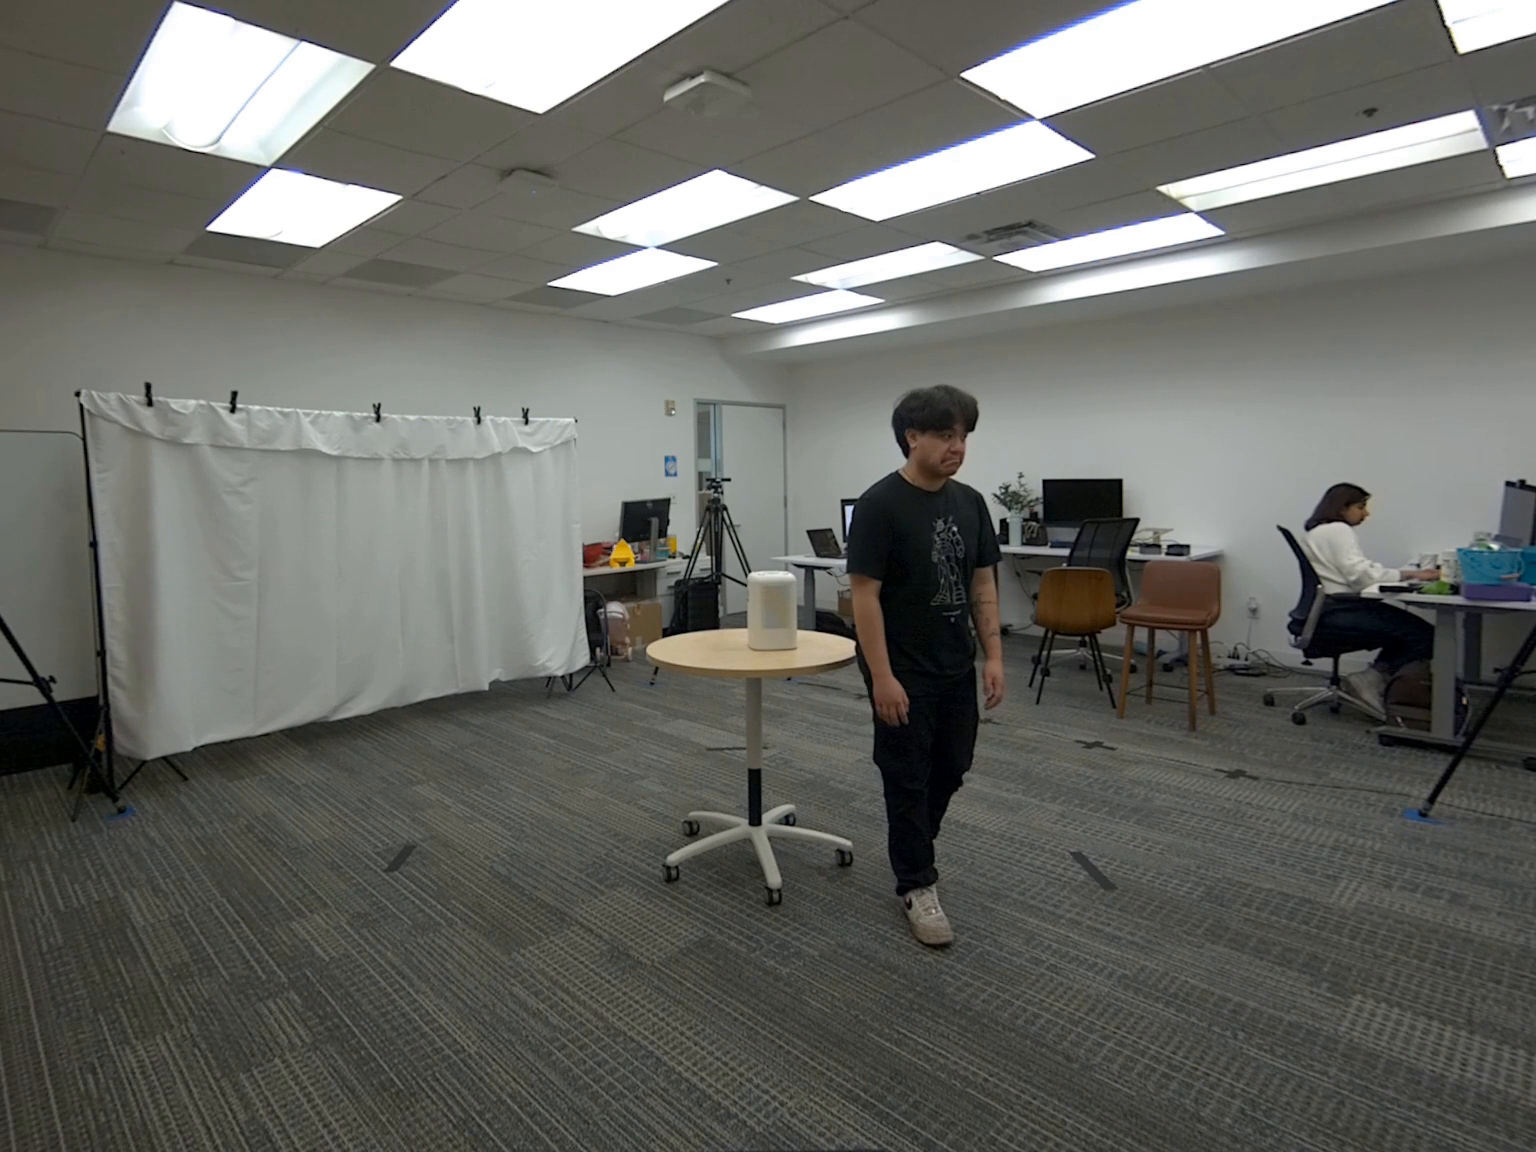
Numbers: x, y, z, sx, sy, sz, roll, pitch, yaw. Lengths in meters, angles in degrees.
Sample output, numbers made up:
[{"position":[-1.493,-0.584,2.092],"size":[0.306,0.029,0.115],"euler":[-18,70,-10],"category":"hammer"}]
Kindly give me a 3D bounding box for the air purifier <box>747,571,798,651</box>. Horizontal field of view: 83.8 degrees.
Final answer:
[{"position":[0.013,0.121,3.061],"size":[0.171,0.264,0.172],"euler":[0,4,-6],"category":"air purifier"}]
